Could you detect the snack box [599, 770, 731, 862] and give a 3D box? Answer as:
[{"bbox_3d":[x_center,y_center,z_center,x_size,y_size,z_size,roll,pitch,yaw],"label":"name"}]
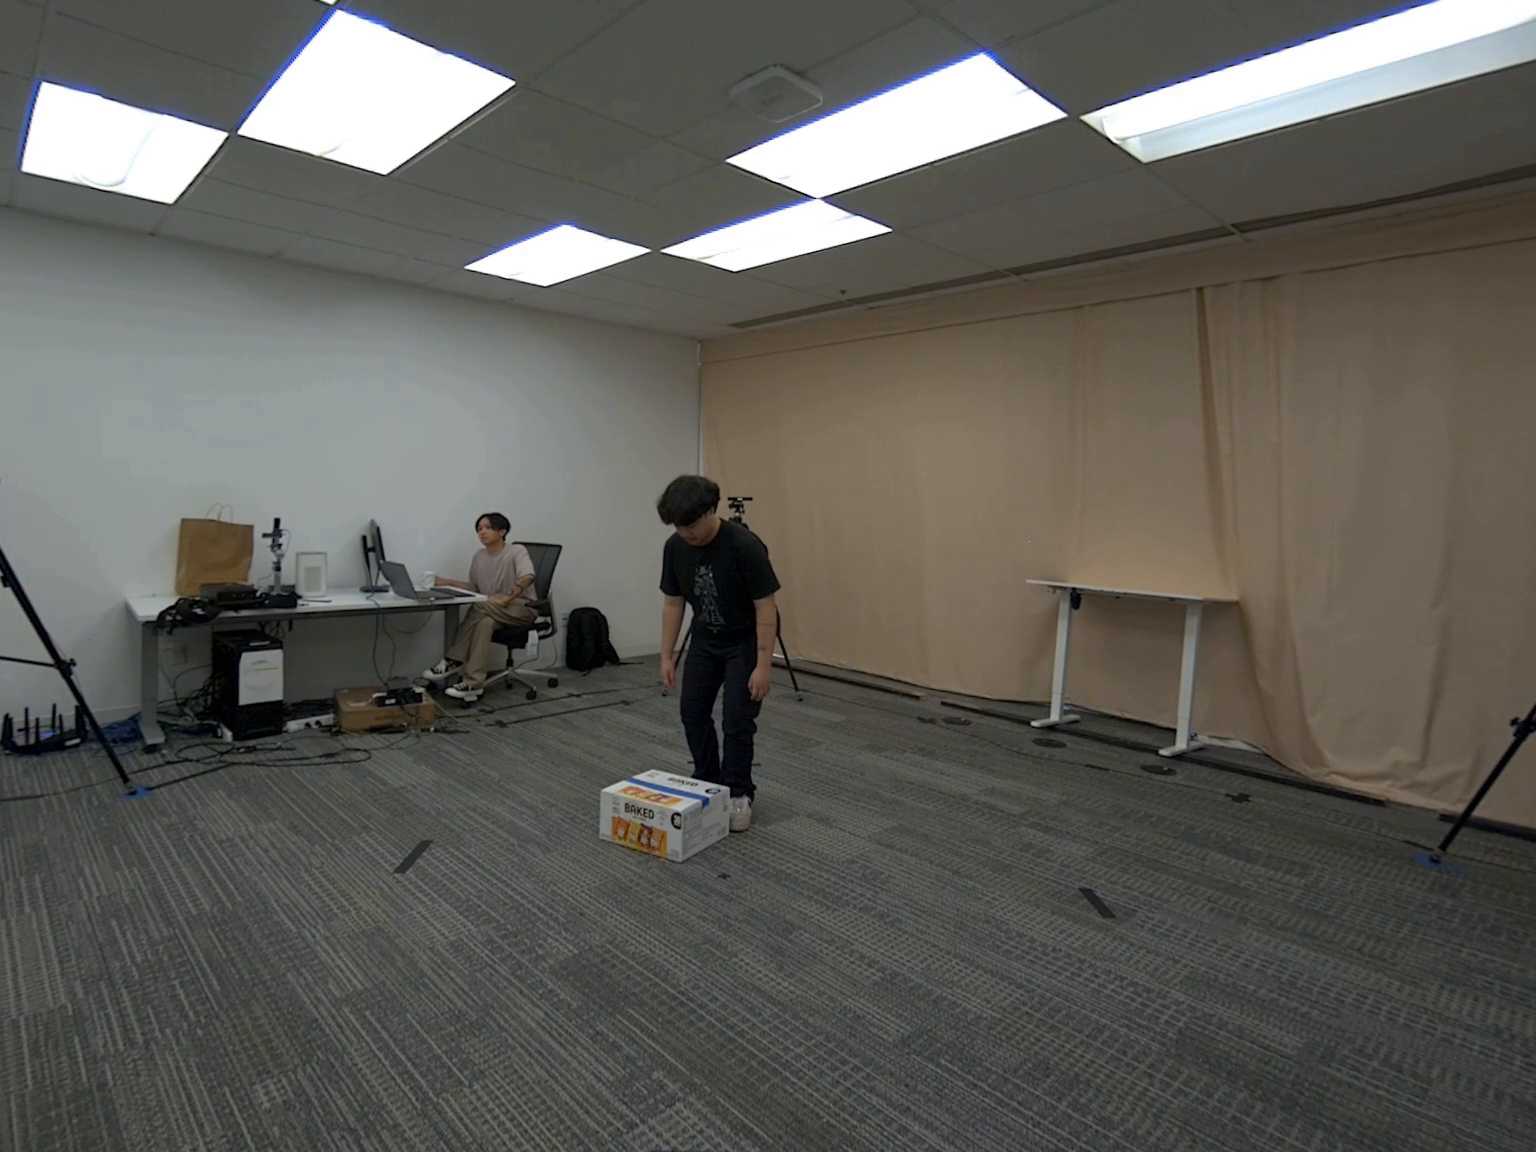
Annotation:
[{"bbox_3d":[-0.428,0.969,3.437,0.414,0.205,0.333,4,5,31],"label":"snack box"}]
